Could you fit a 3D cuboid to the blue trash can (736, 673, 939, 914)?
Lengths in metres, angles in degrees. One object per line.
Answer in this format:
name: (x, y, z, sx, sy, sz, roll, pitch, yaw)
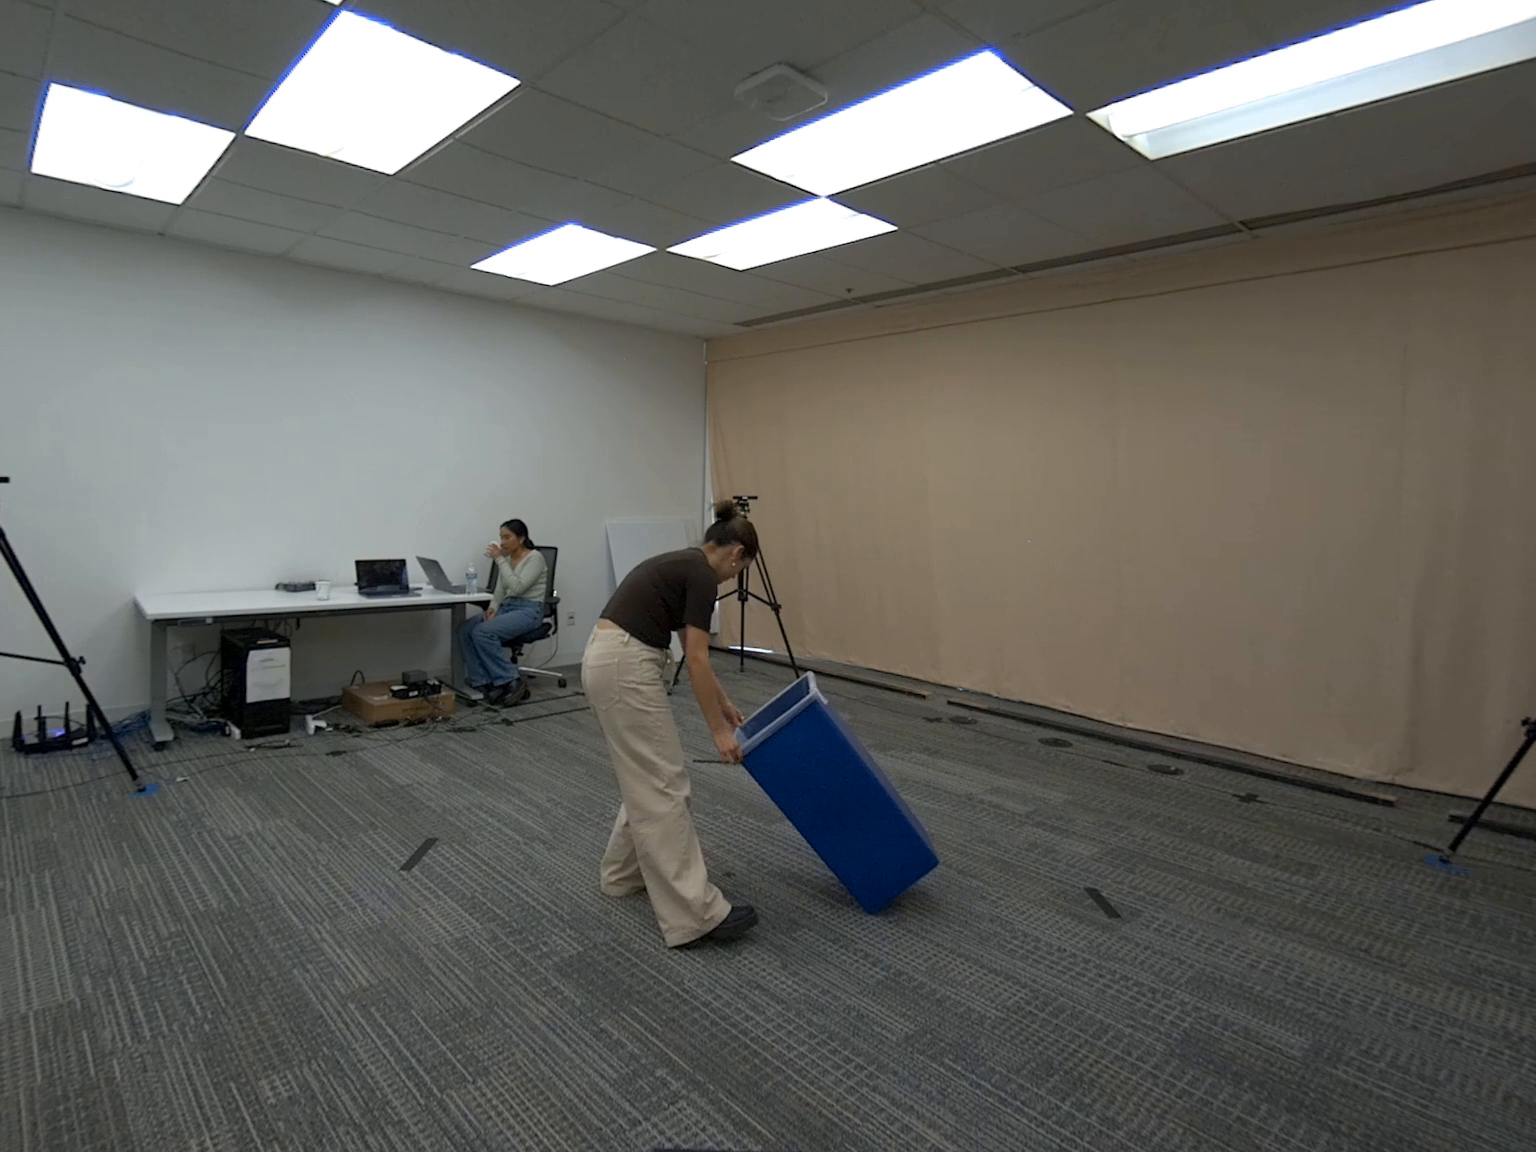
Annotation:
blue trash can: (0.227, 0.758, 2.949, 0.374, 0.714, 0.378, -38, 0, 4)
